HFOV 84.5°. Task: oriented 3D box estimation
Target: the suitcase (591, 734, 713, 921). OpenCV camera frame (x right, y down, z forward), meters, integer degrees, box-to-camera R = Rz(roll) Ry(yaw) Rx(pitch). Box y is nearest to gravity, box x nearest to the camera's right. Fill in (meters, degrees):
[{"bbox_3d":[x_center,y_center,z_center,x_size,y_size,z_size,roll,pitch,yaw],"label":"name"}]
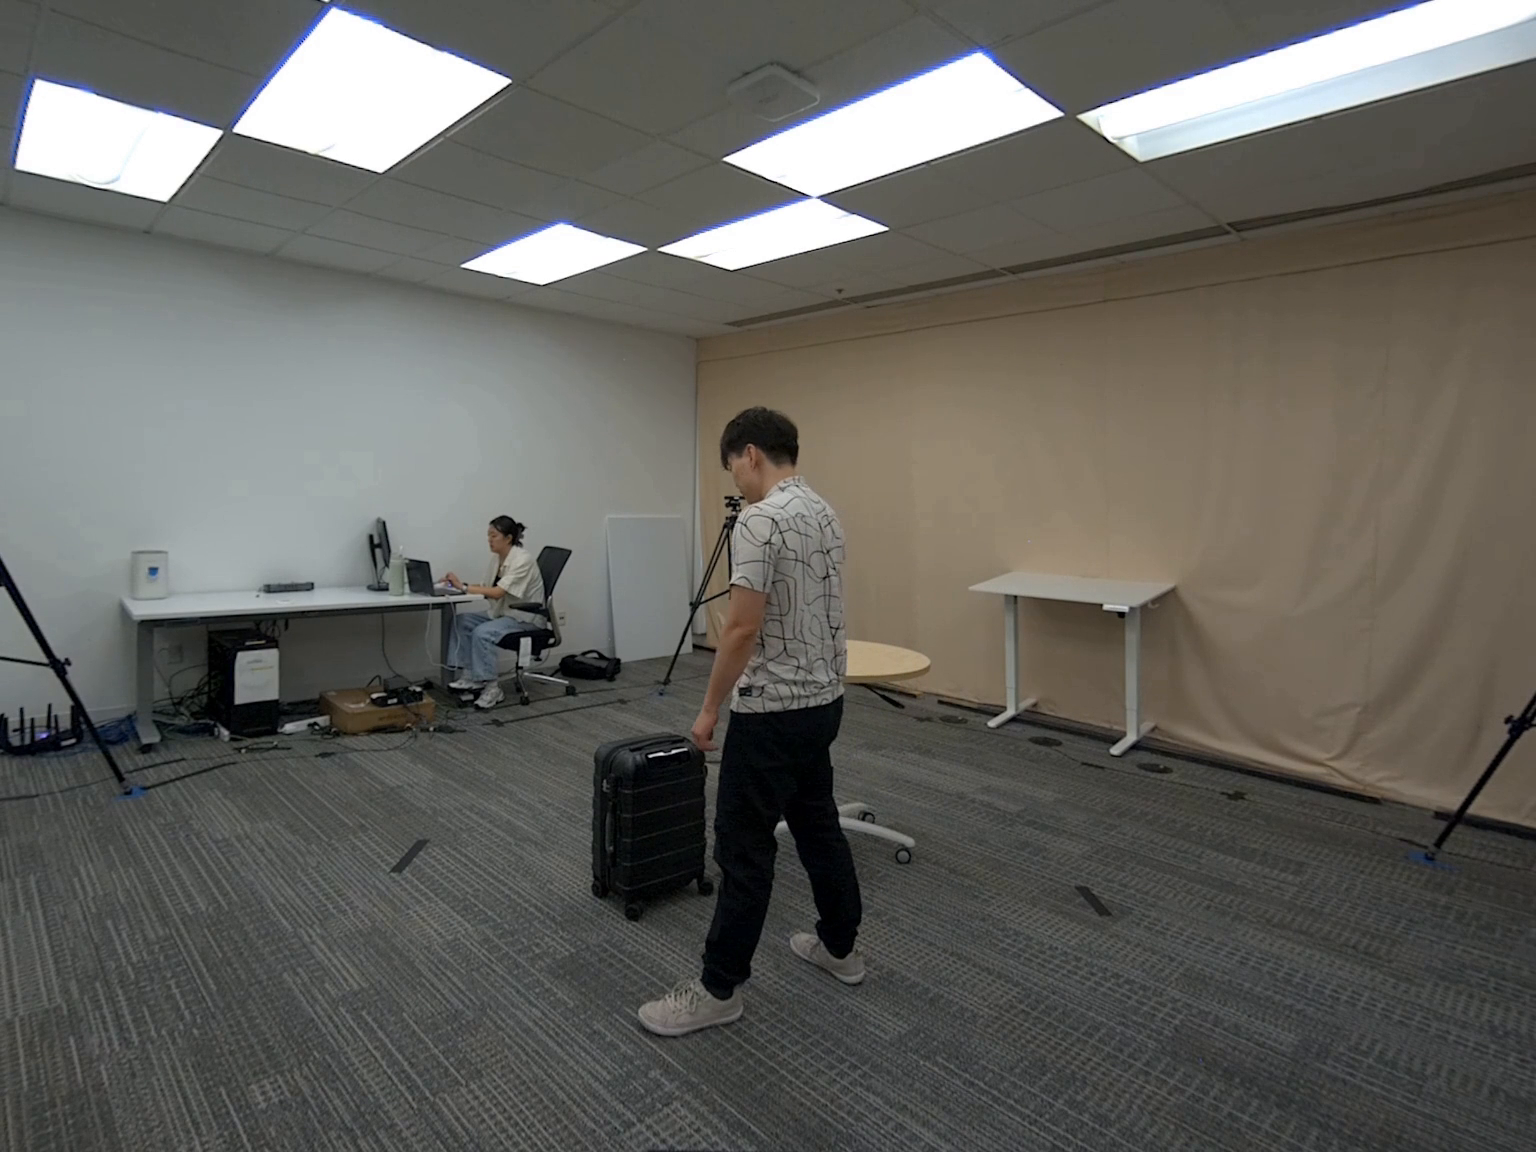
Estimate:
[{"bbox_3d":[-0.421,0.837,2.927,0.367,0.548,0.254,-2,3,-39],"label":"suitcase"}]
